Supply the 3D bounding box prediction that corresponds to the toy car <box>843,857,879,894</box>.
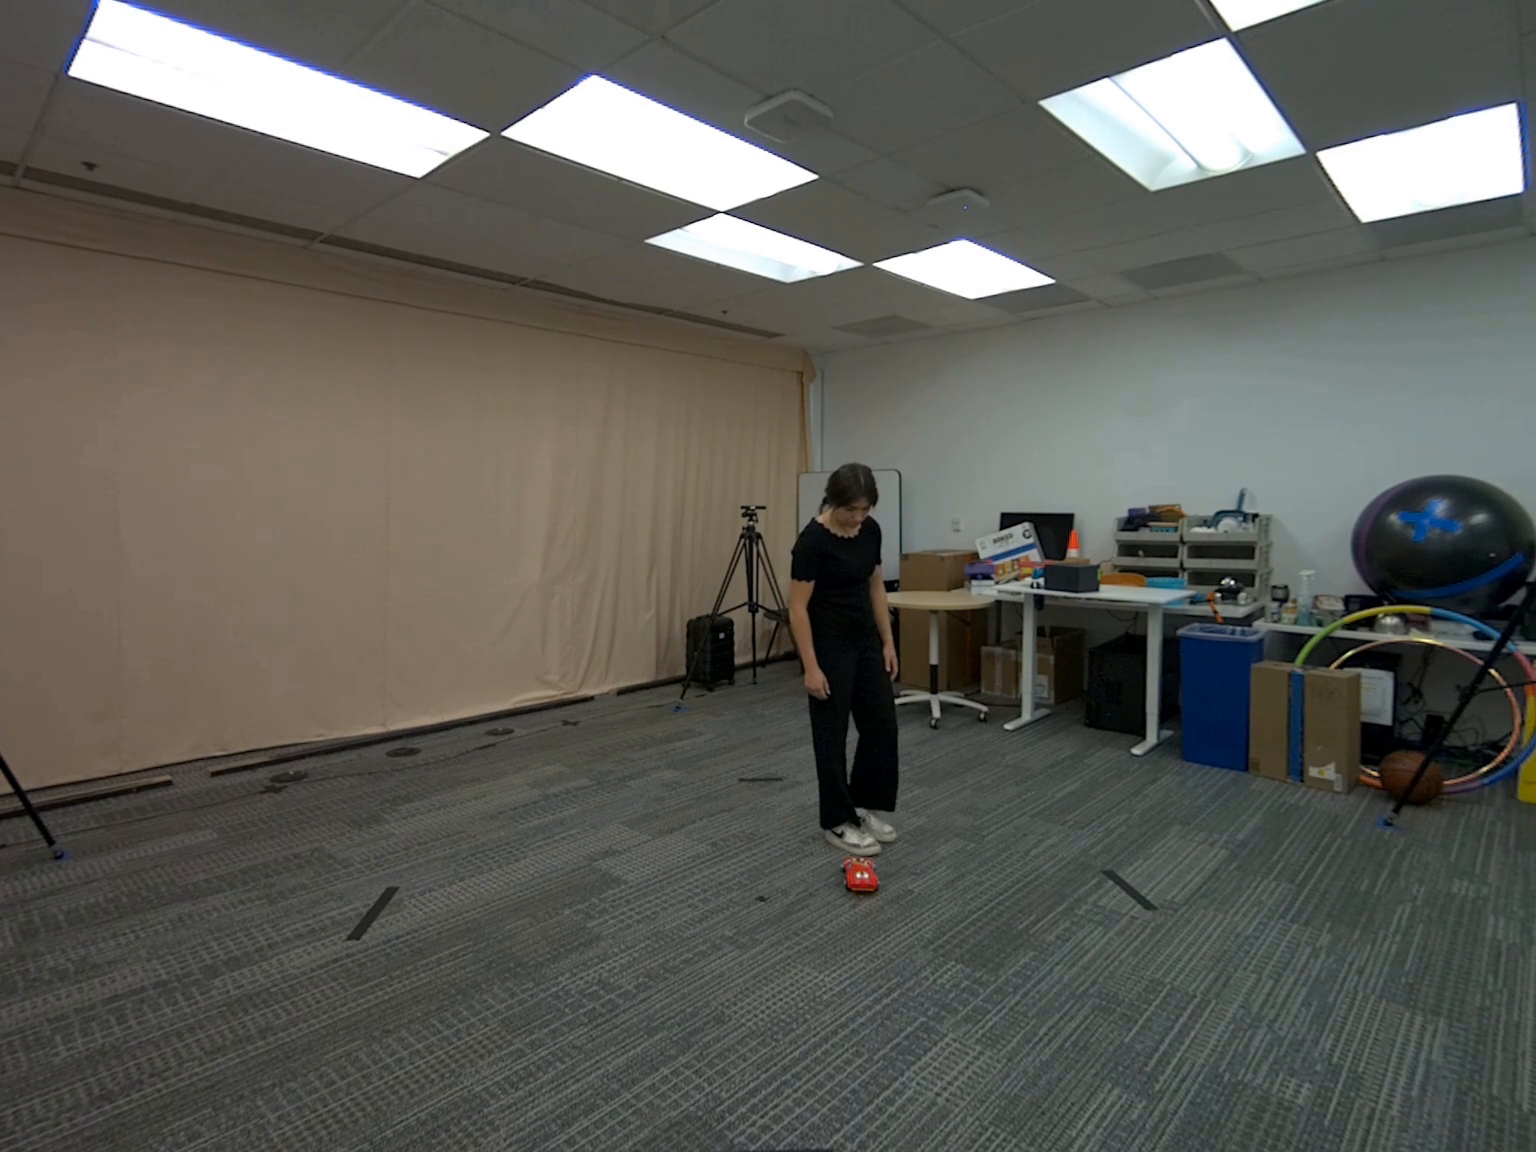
[{"bbox_3d":[0.341,1.096,3.098,0.131,0.083,0.252,0,-7,1],"label":"toy car"}]
